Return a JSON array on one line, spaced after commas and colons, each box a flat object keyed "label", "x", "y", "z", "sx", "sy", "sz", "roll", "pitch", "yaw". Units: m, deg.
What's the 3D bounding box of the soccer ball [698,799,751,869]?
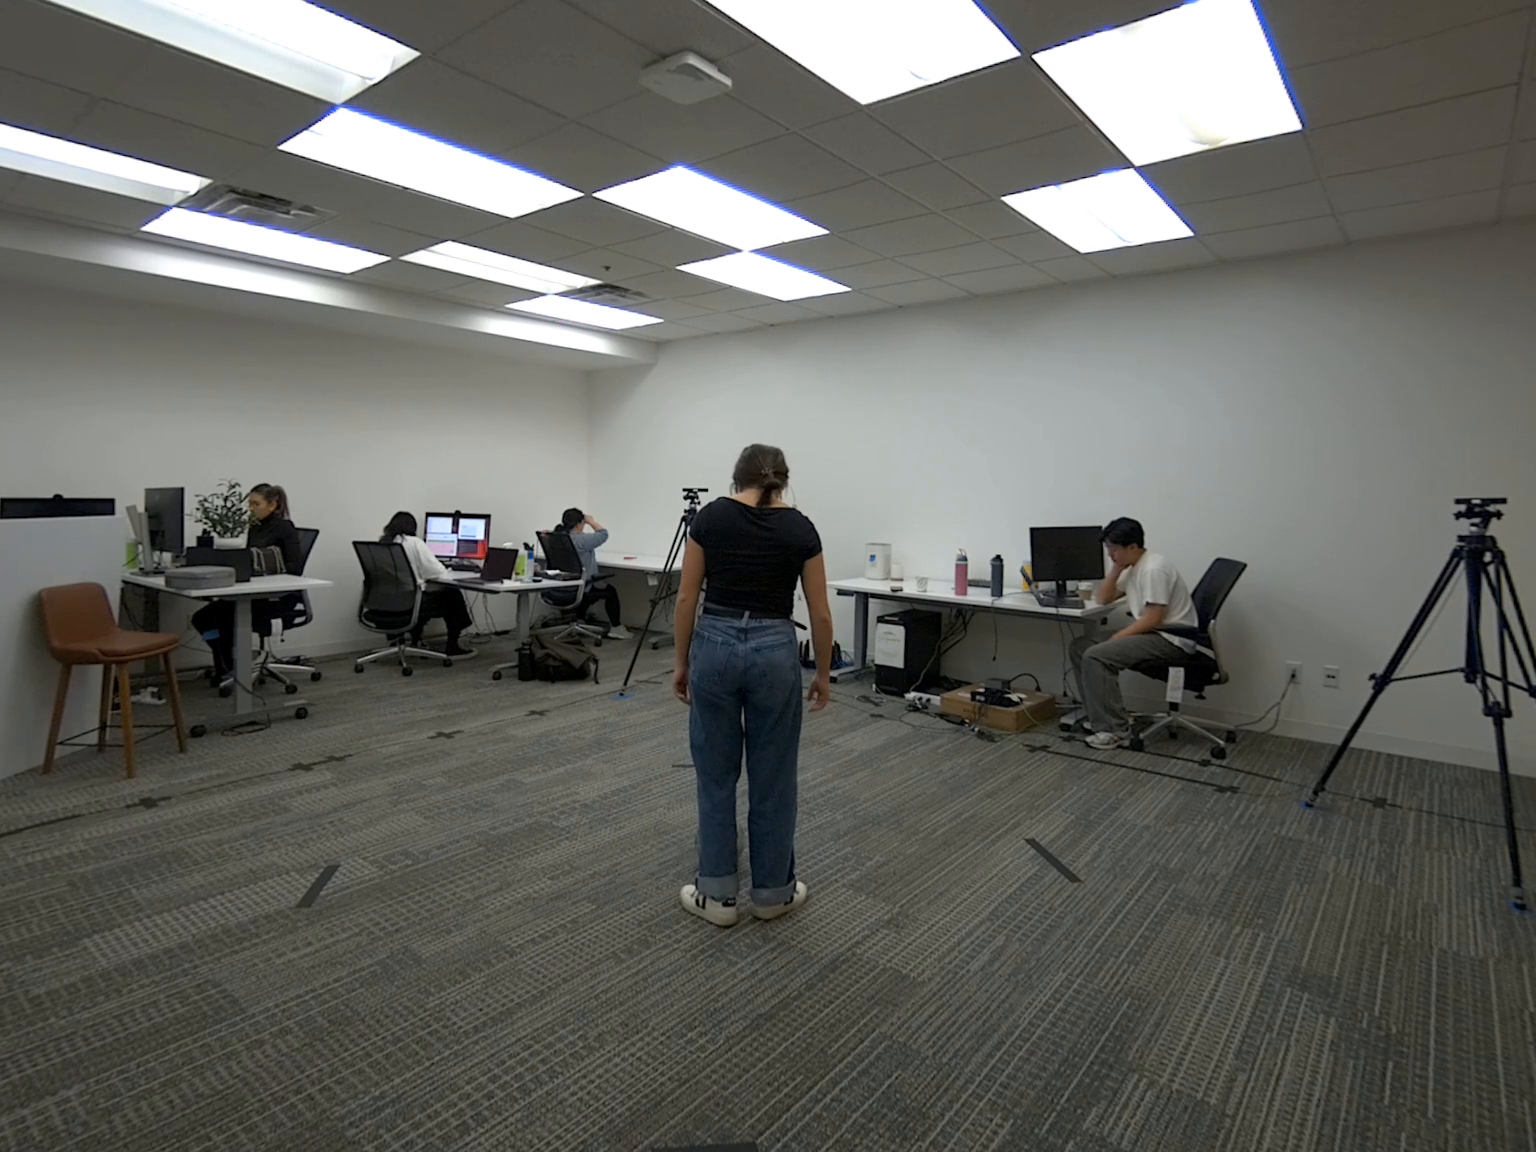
[{"label": "soccer ball", "x": -0.163, "y": 0.957, "z": 3.138, "sx": 0.187, "sy": 0.187, "sz": 0.188, "roll": 1, "pitch": 4, "yaw": -2}]
